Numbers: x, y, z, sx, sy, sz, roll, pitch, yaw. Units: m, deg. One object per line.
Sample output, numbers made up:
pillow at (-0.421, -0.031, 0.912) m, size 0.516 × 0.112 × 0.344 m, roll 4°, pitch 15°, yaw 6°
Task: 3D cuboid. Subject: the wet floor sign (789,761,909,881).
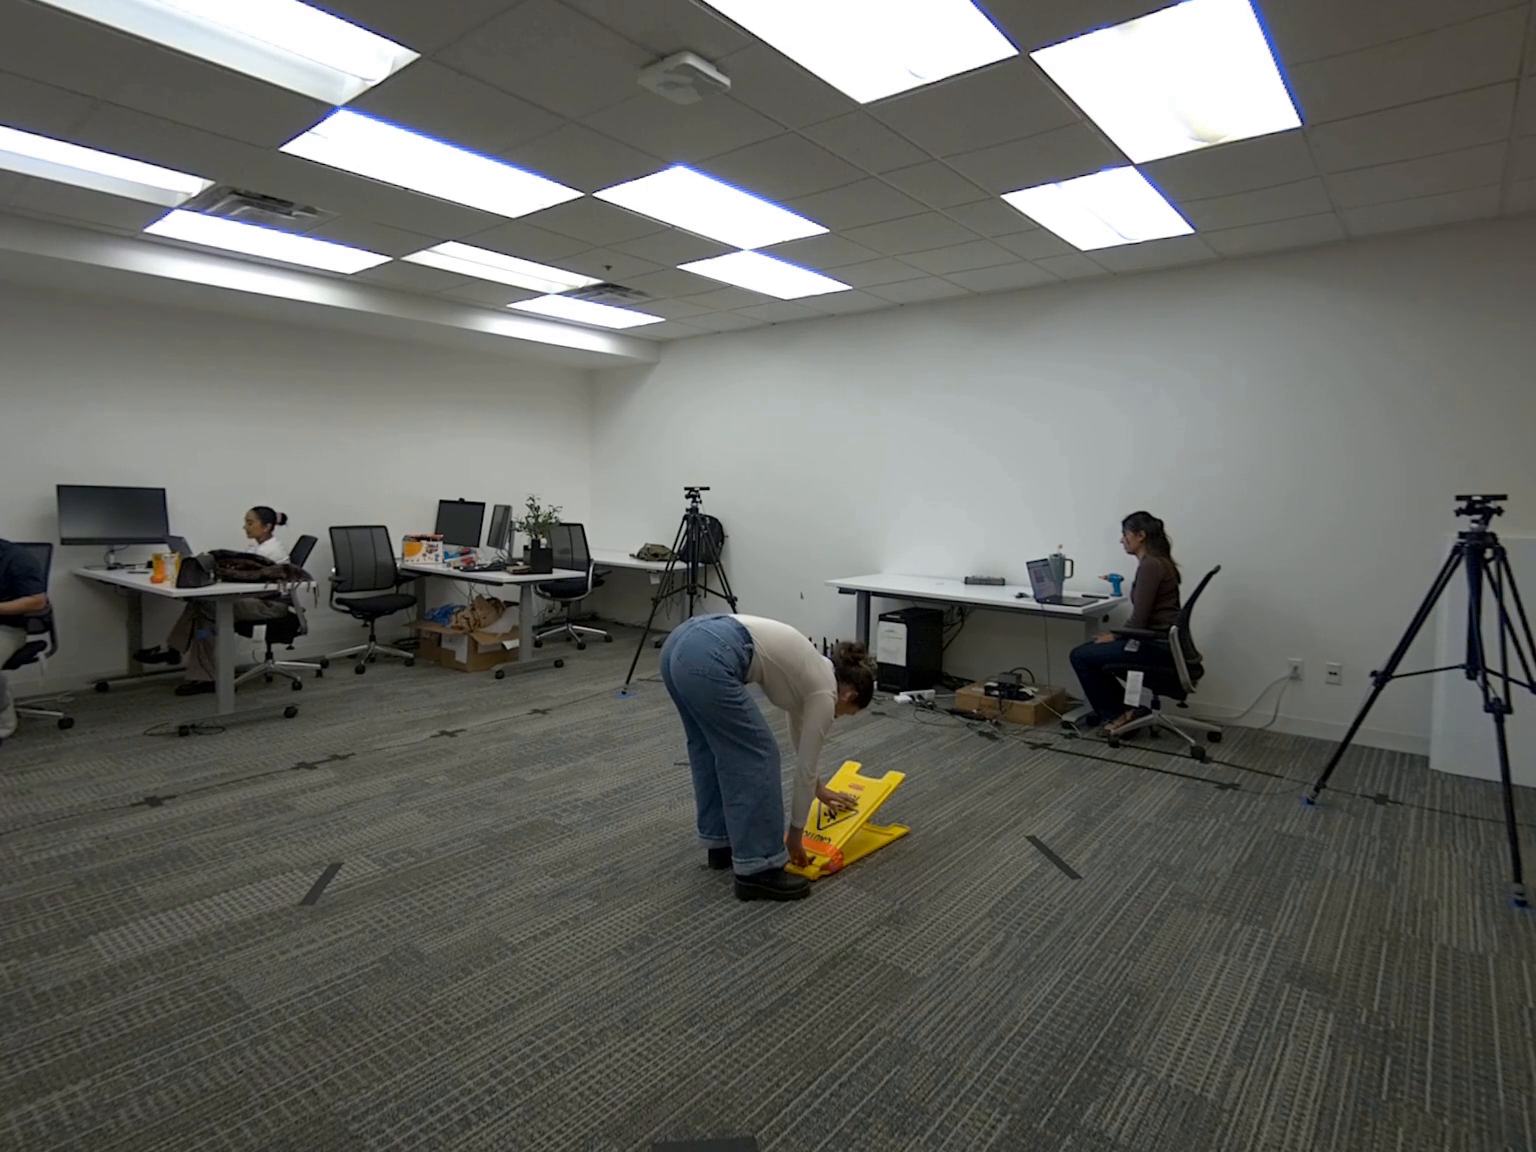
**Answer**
wet floor sign at (0.264, 0.987, 3.300) m, size 0.291 × 0.286 × 0.633 m, roll 2°, pitch 16°, yaw 39°
